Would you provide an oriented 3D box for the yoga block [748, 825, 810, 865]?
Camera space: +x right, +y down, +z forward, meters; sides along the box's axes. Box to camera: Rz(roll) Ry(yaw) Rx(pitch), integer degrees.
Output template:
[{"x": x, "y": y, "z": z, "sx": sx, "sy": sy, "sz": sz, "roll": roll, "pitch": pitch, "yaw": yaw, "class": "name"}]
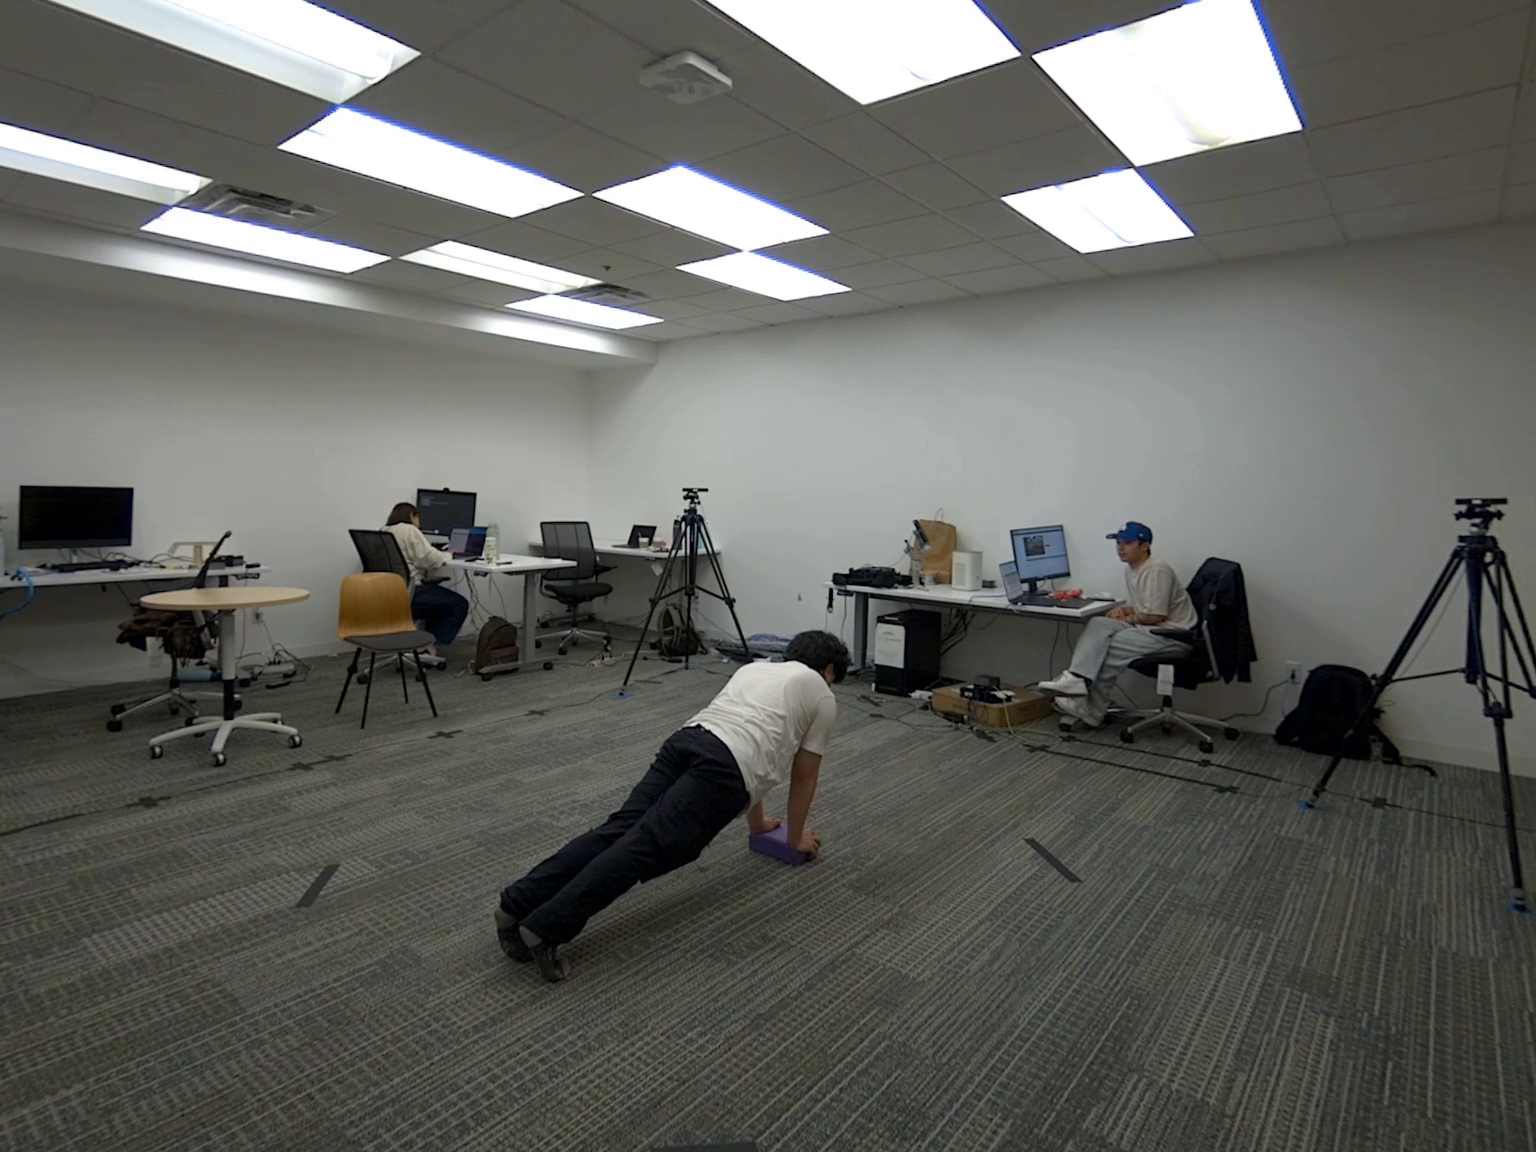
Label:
[{"x": 0.047, "y": 1.023, "z": 3.279, "sx": 0.237, "sy": 0.076, "sz": 0.144, "roll": 5, "pitch": 5, "yaw": 38, "class": "yoga block"}]
